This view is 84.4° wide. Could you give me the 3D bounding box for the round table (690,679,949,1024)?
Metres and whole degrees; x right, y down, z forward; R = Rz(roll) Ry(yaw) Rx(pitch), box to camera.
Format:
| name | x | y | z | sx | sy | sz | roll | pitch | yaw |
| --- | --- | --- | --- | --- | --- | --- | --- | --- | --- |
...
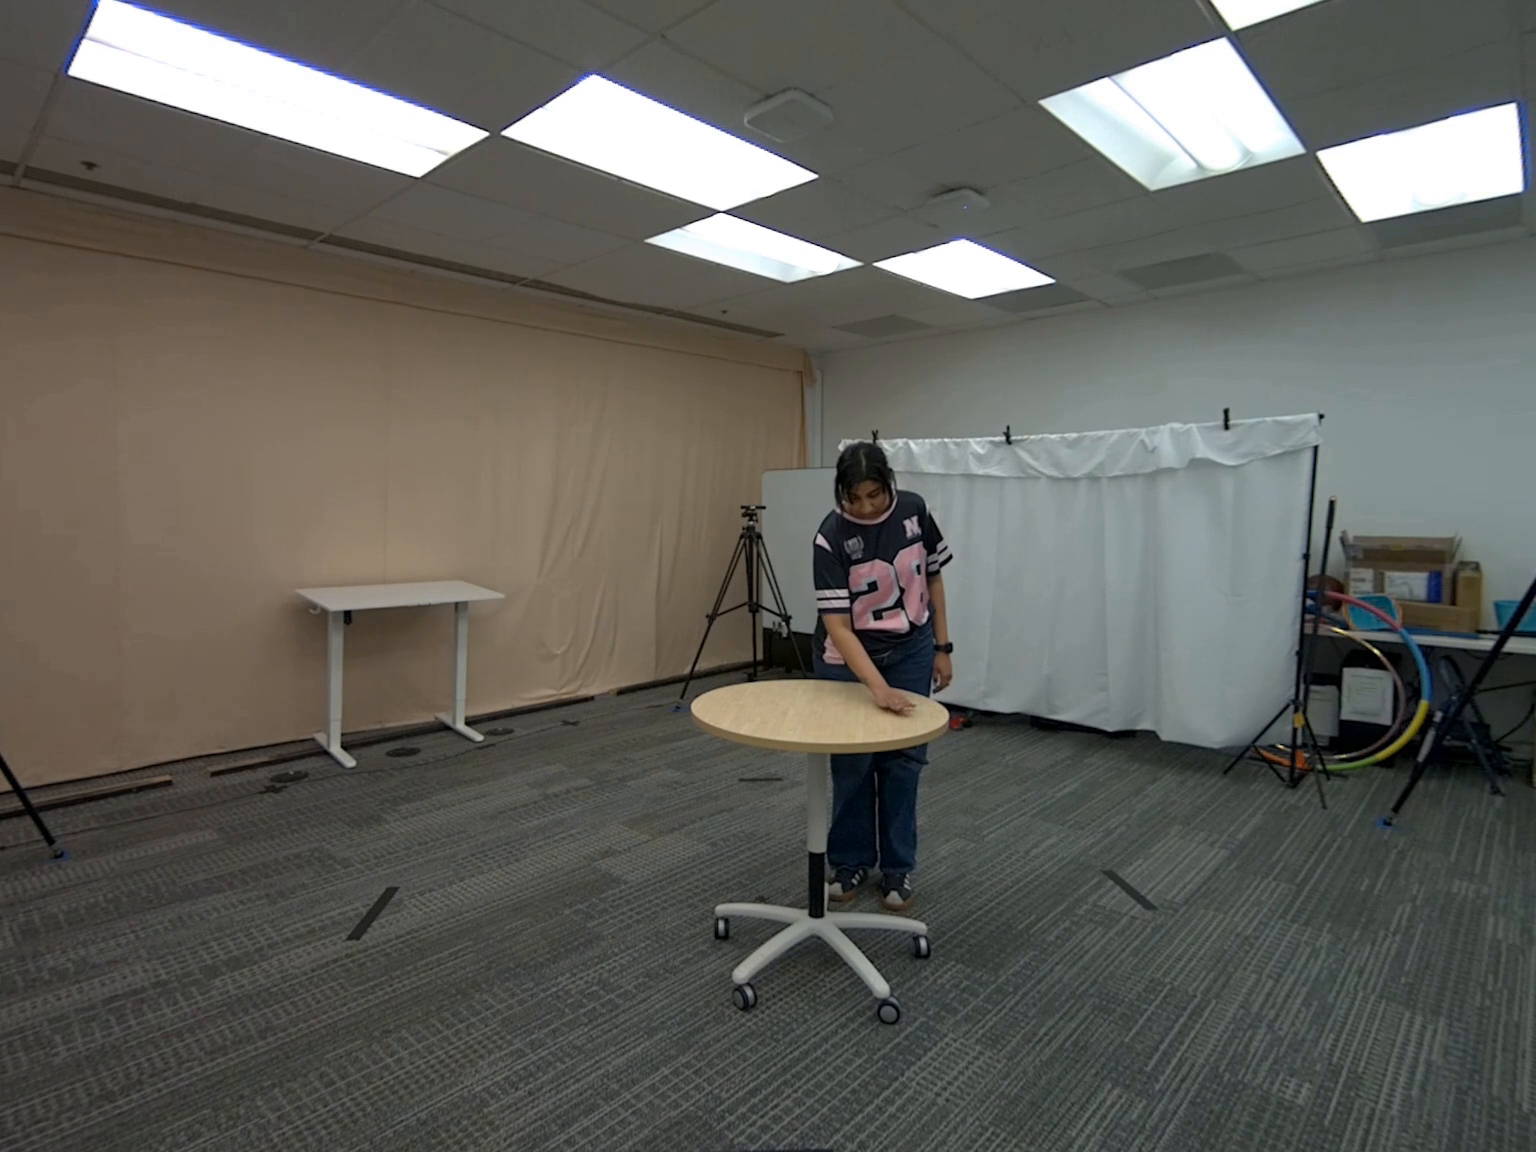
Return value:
| name | x | y | z | sx | sy | sz | roll | pitch | yaw |
| --- | --- | --- | --- | --- | --- | --- | --- | --- | --- |
| round table | 0.165 | 0.787 | 2.552 | 0.784 | 0.785 | 0.788 | 0 | 4 | -2 |
